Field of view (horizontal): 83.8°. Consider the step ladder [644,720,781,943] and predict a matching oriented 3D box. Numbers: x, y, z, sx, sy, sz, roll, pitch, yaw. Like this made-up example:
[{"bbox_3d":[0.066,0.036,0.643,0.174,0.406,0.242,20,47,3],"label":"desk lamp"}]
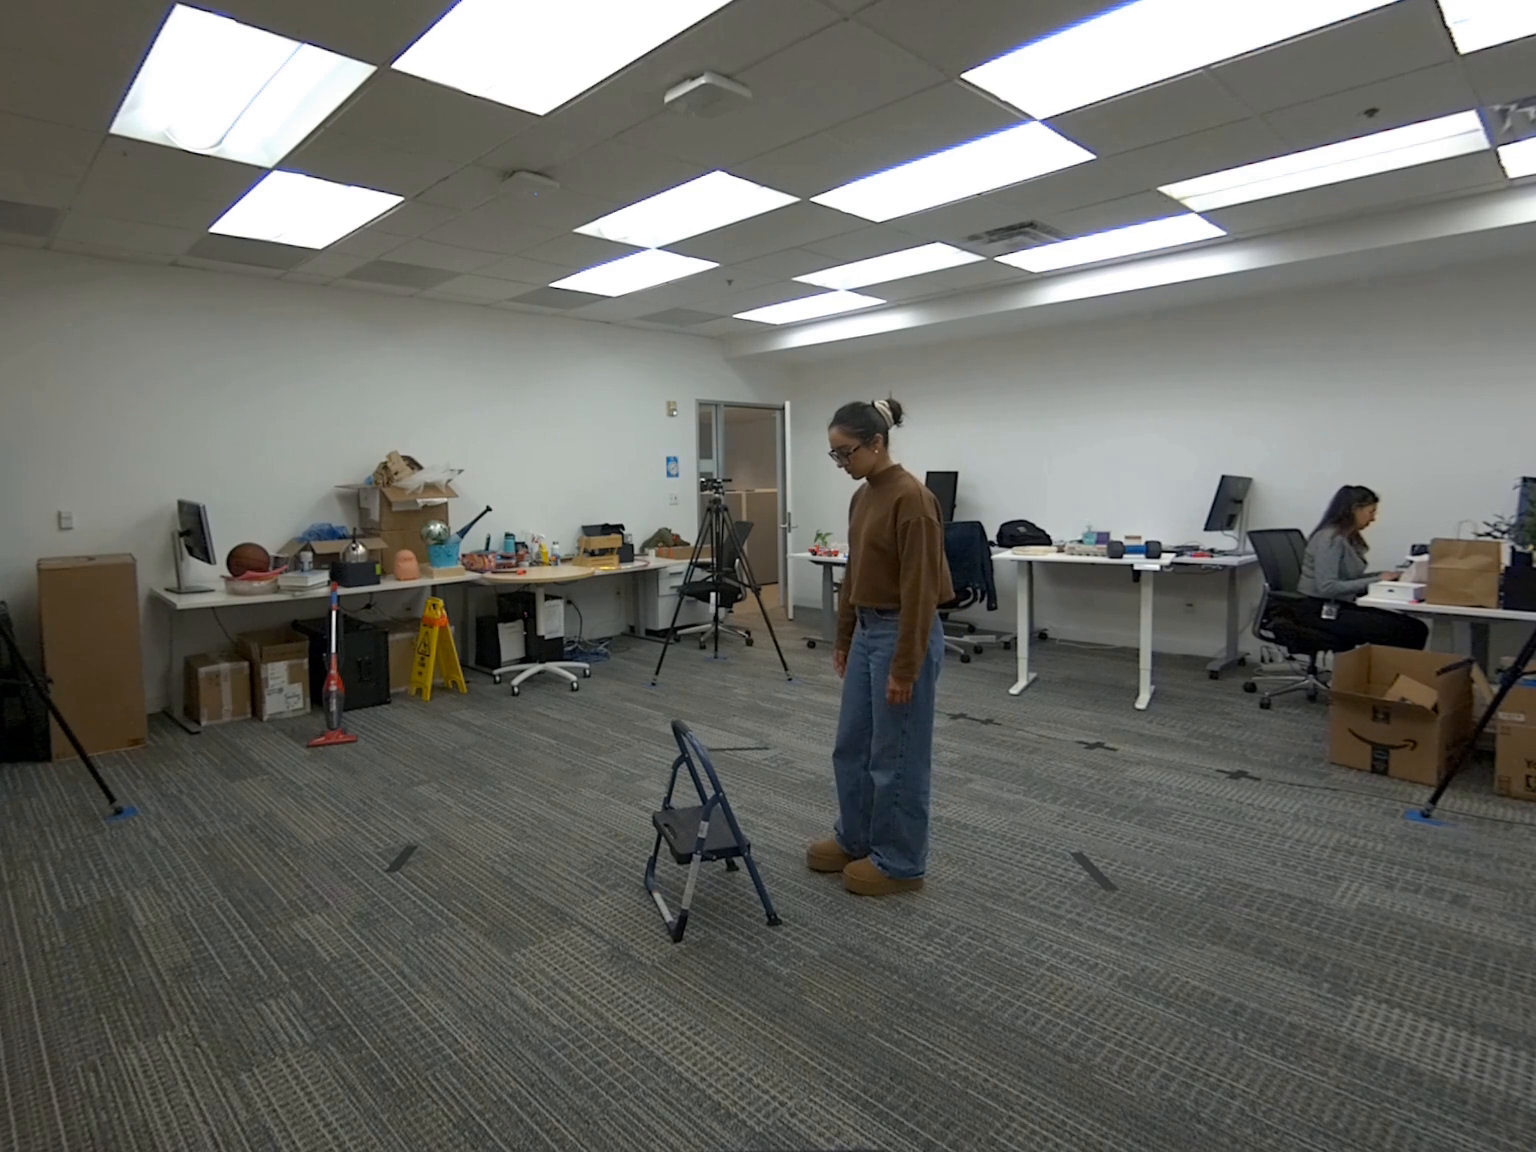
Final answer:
[{"bbox_3d":[-0.191,0.779,2.803,0.343,0.604,0.440,-2,5,-21],"label":"step ladder"}]
